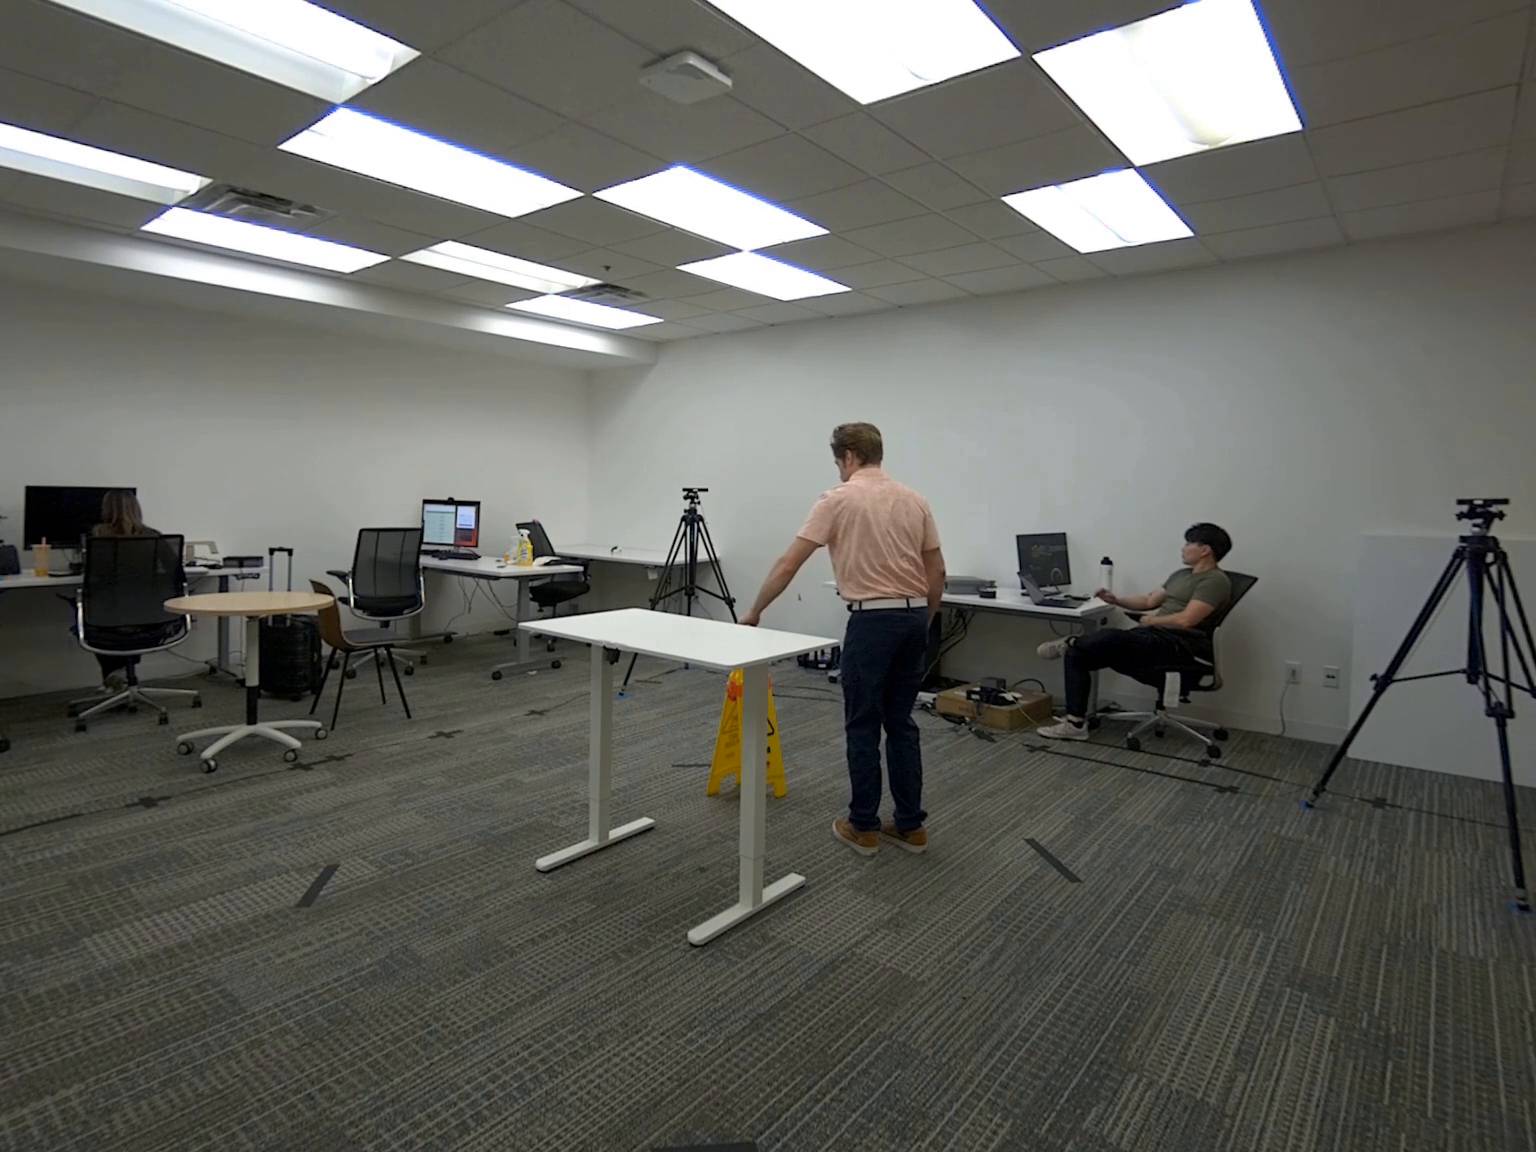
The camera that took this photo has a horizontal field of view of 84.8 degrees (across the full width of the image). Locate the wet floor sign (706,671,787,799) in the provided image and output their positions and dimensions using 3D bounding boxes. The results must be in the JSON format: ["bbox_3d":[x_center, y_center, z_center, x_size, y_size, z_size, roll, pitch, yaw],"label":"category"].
[{"bbox_3d":[-0.095,0.676,3.869,0.299,0.644,0.274,5,5,39],"label":"wet floor sign"}]
